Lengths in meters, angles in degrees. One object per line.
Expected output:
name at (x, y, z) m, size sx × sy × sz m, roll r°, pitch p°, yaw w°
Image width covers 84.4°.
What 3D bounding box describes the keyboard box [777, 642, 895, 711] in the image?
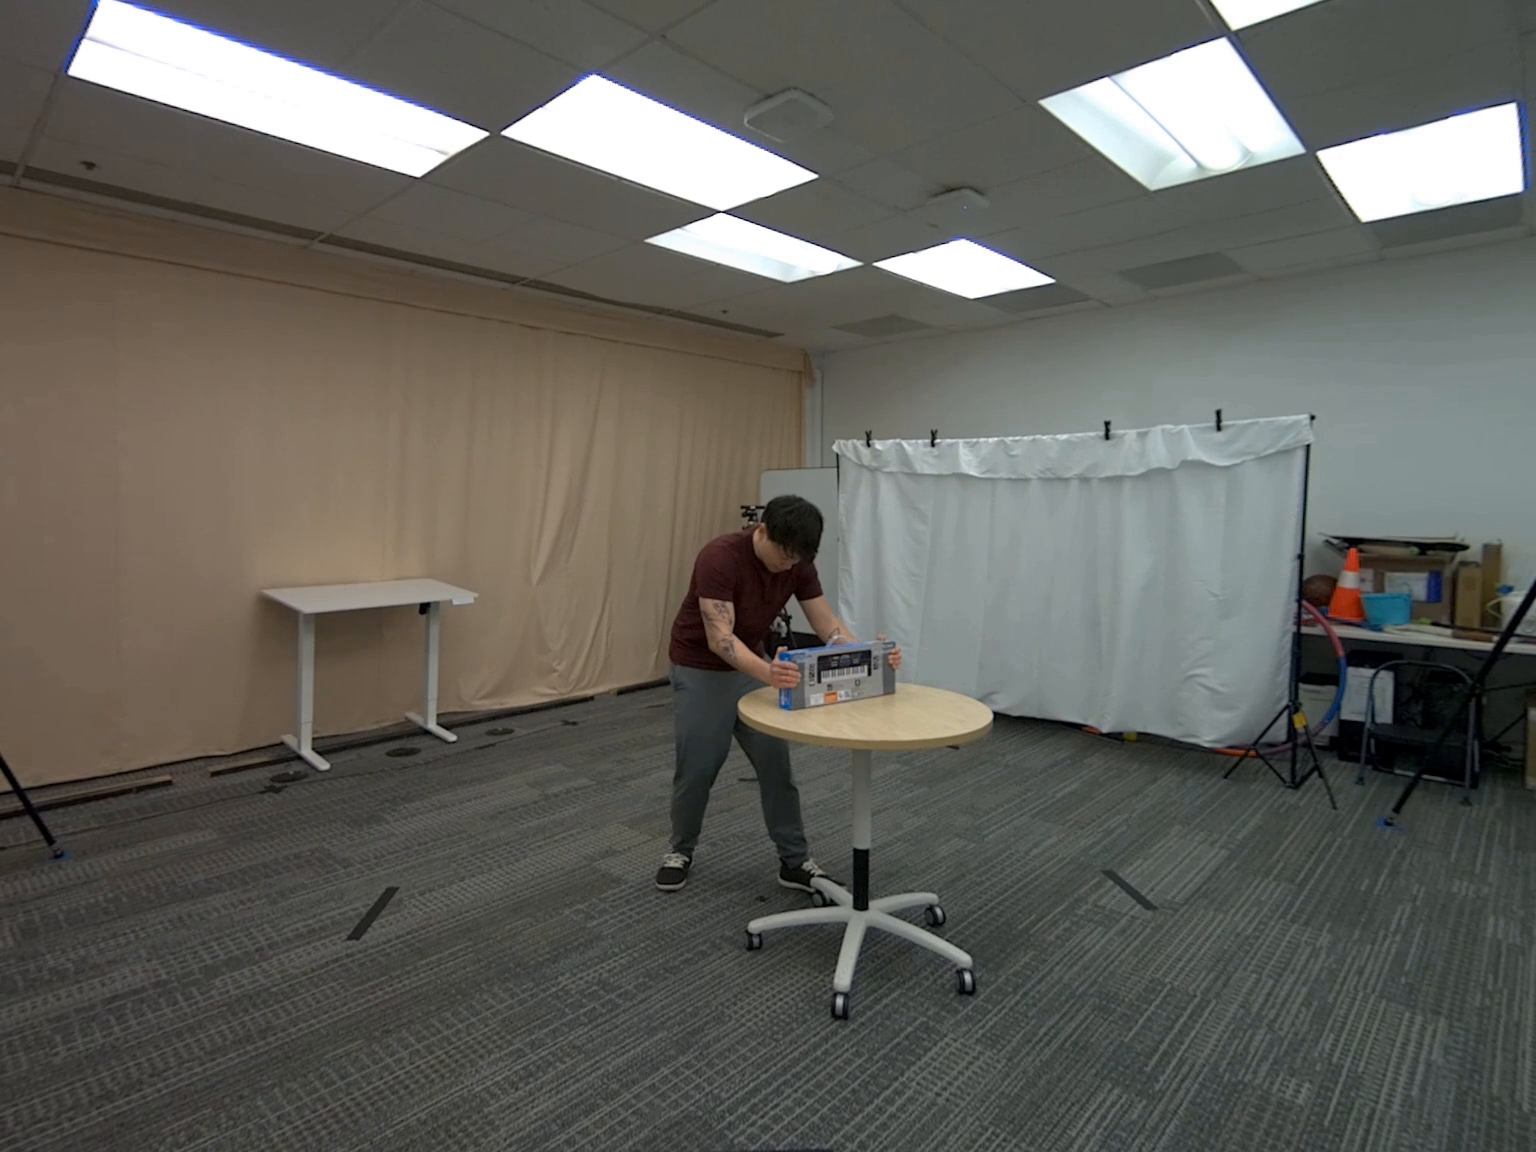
keyboard box at (0.236, 0.315, 2.647) m, size 0.424 × 0.175 × 0.061 m, roll -2°, pitch 5°, yaw -33°
